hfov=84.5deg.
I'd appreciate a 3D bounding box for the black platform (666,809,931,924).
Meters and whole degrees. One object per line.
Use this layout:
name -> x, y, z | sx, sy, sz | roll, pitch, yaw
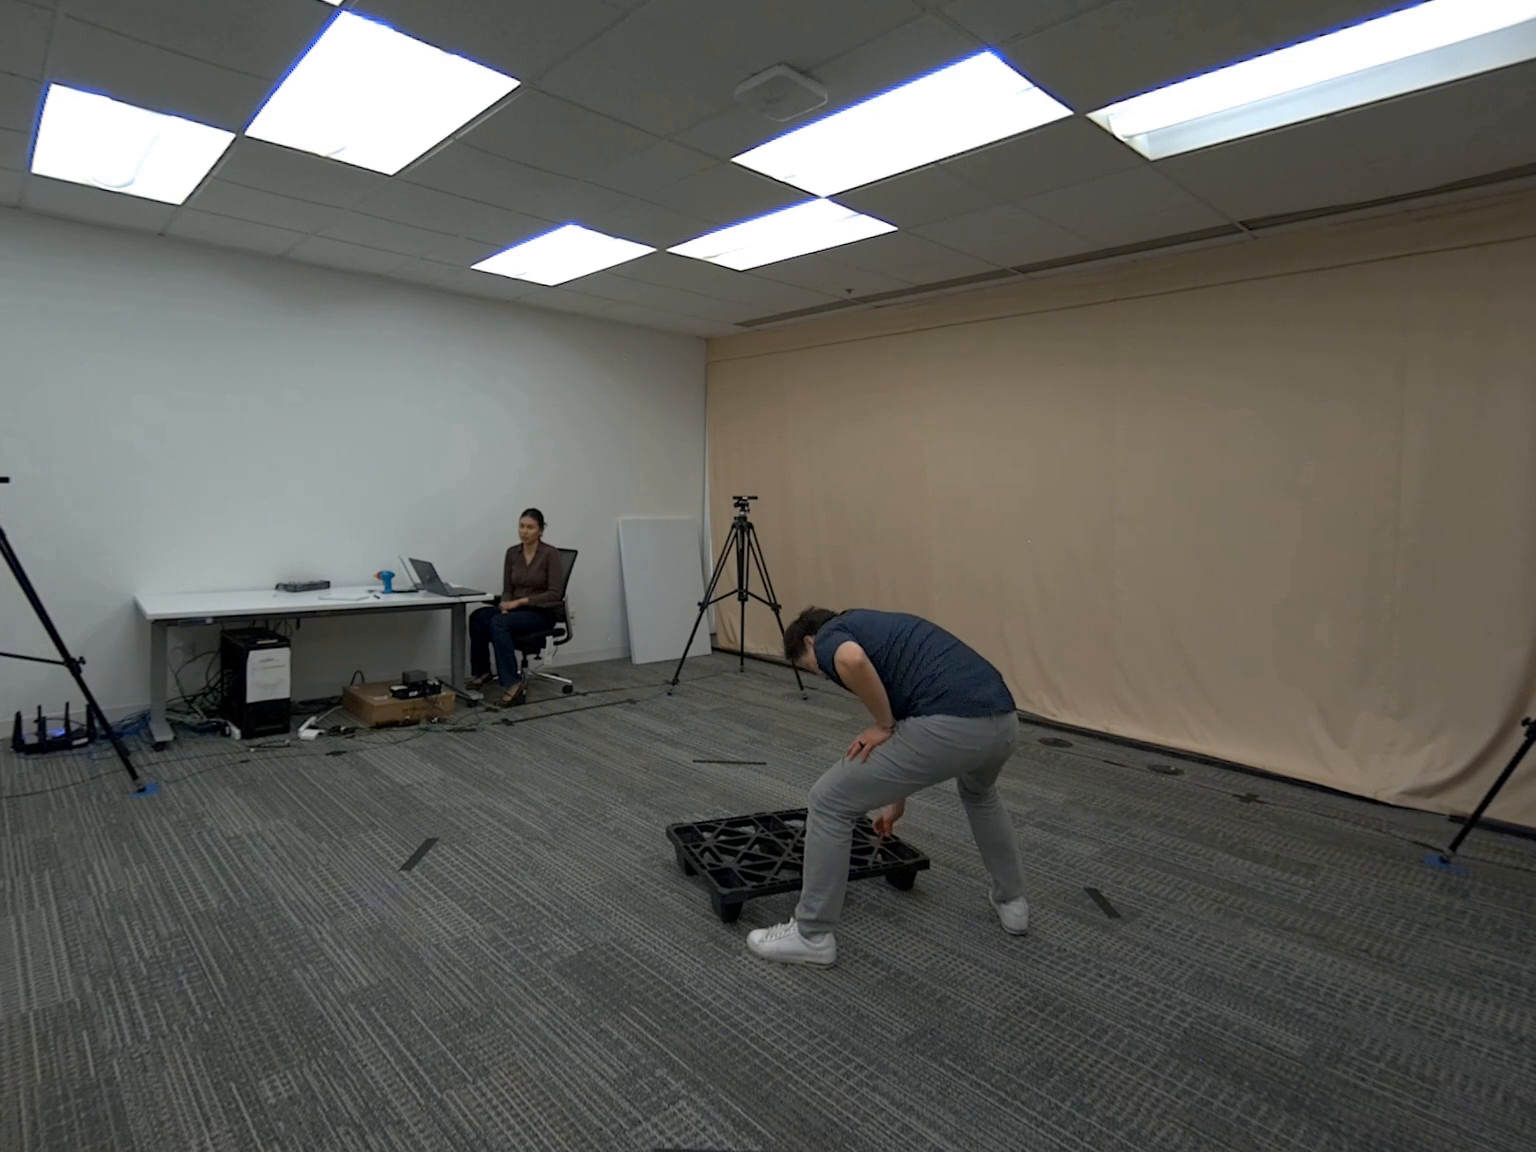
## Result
black platform -> 0.090, 1.042, 3.092 | 0.792, 0.143, 0.617 | -1, 6, -23
